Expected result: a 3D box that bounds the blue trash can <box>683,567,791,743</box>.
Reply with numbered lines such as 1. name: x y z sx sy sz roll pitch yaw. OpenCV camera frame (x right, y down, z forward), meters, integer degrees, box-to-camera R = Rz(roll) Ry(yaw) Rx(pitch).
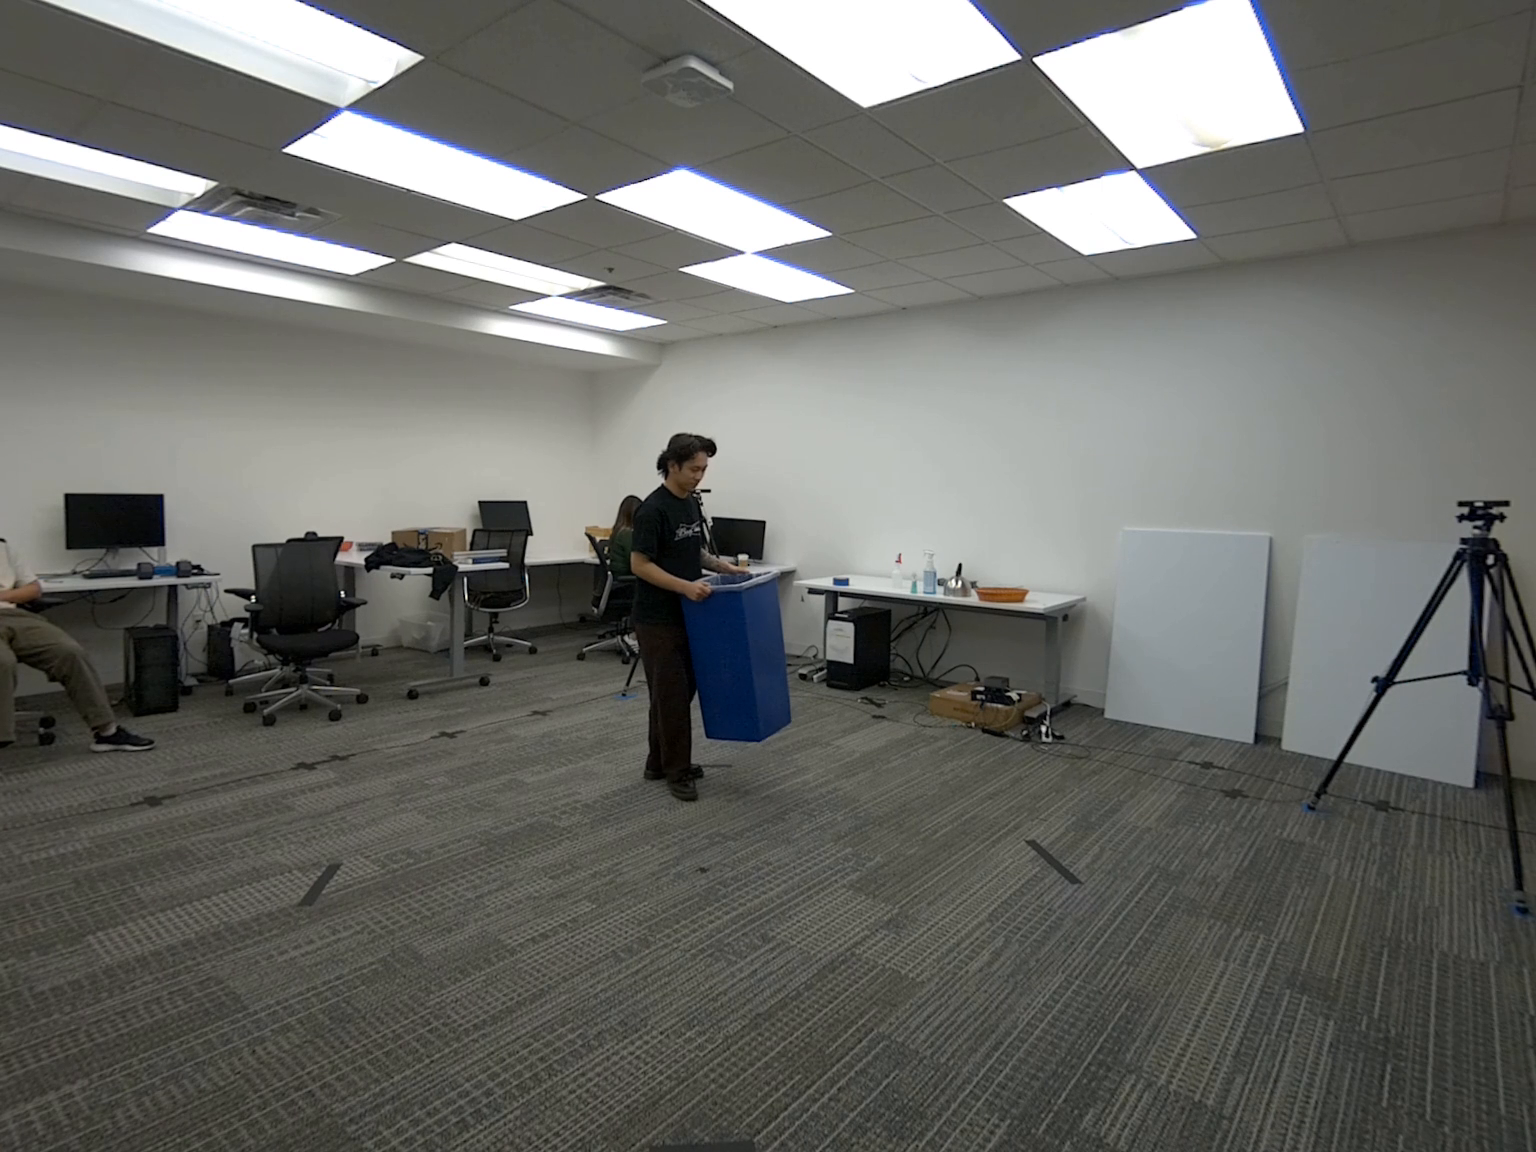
1. blue trash can: -0.152 0.364 3.913 0.388 0.710 0.366 -5 5 29
